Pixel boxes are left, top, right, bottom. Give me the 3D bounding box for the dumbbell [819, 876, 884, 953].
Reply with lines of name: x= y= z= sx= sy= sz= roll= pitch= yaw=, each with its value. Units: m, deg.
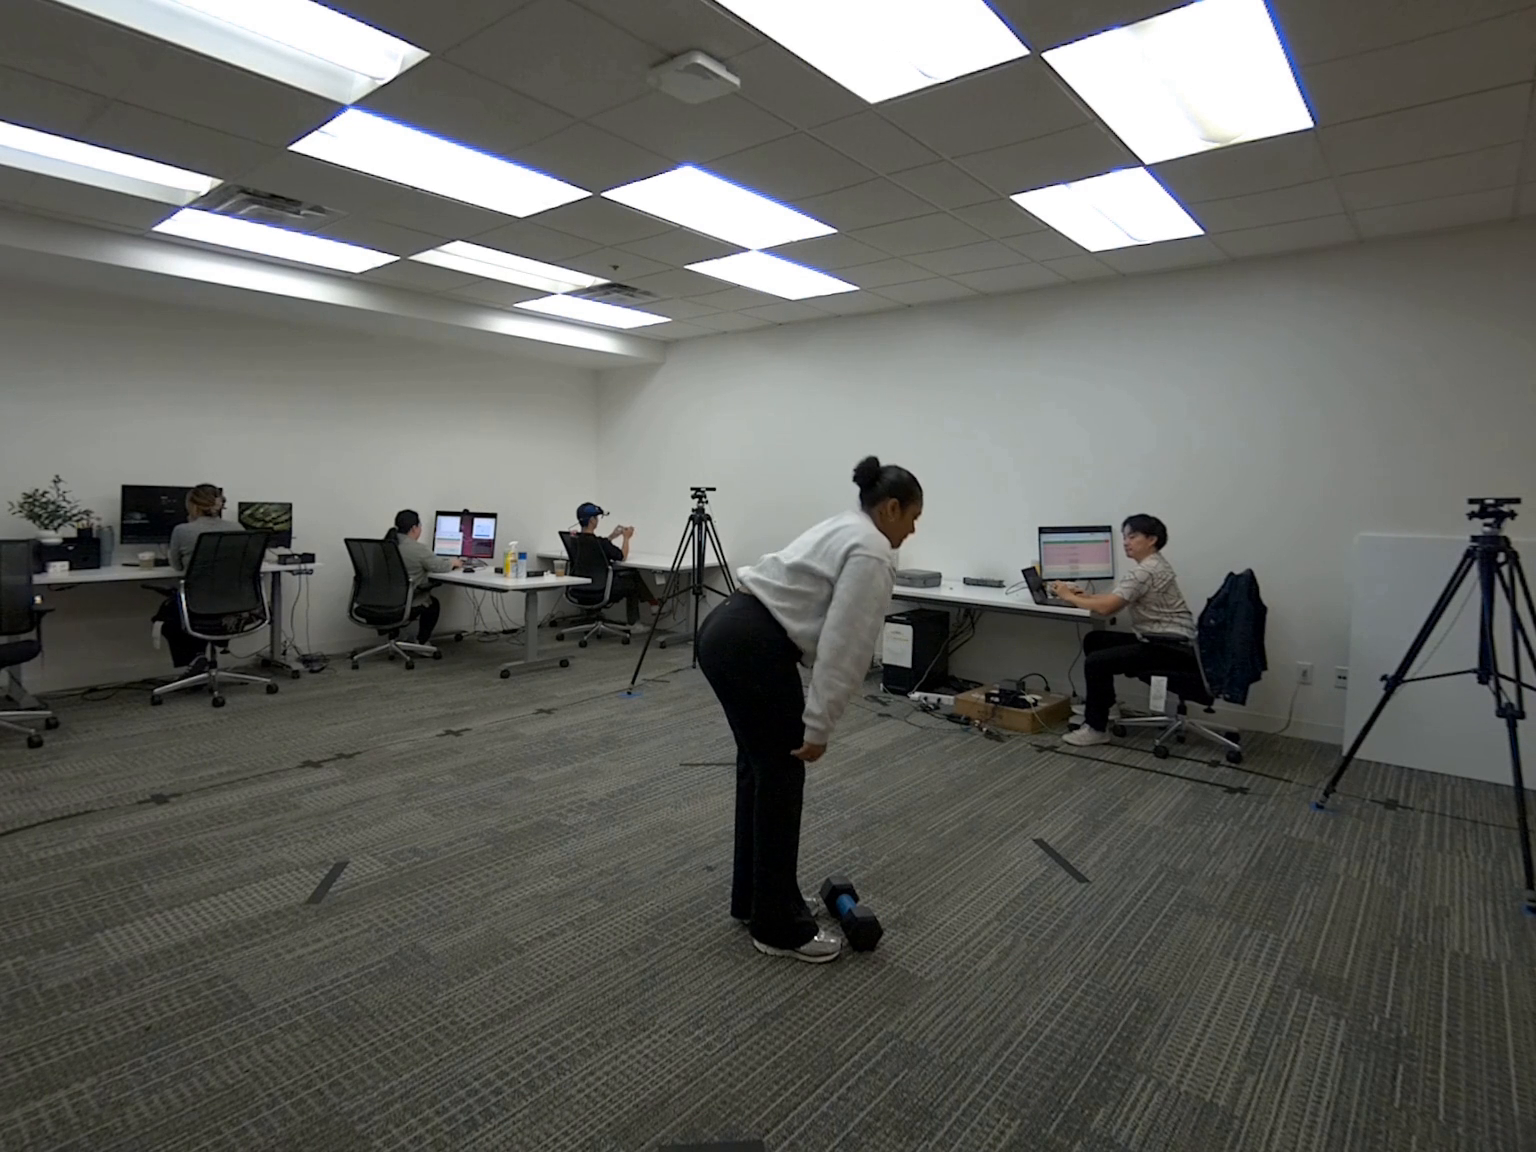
dumbbell: x=0.250 y=1.071 z=2.698 sx=0.108 sy=0.121 sz=0.298 roll=-32 pitch=11 yaw=-9
